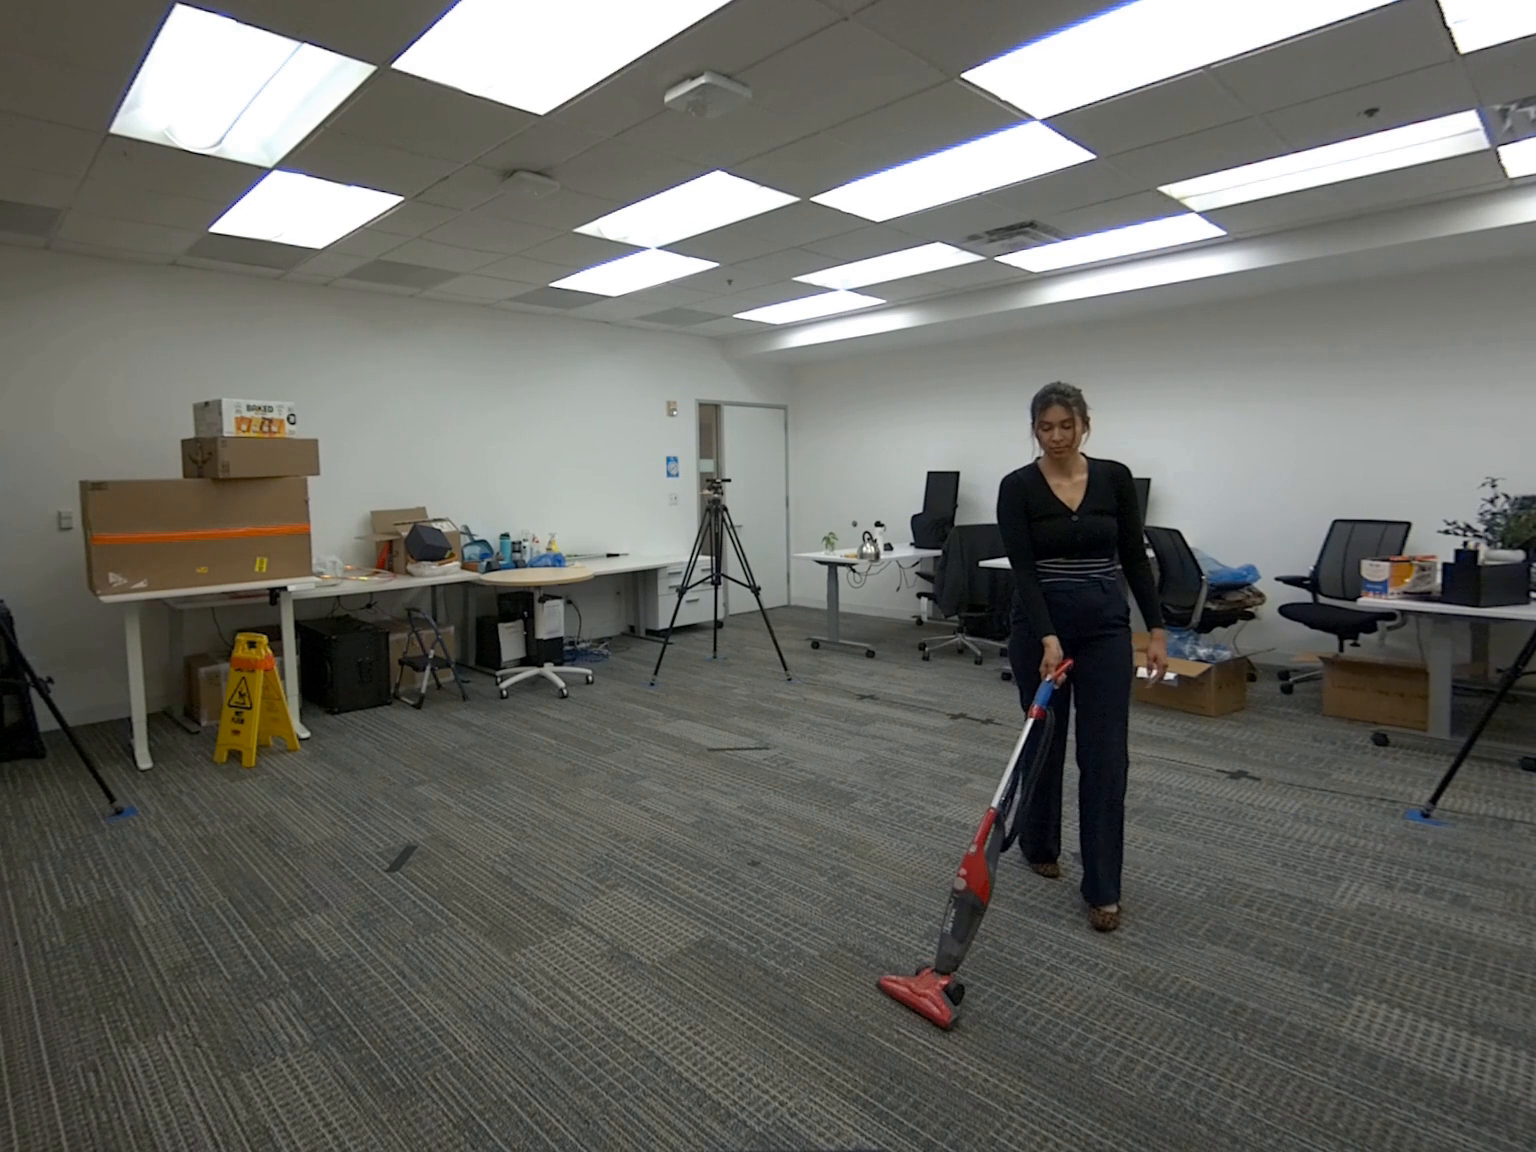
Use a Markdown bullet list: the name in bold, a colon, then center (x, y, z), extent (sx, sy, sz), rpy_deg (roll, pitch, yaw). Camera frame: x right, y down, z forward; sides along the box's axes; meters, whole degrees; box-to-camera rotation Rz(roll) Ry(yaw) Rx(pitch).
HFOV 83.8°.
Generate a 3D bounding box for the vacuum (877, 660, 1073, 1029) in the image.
- **vacuum**: center (0.684, 0.707, 2.457), extent (0.261, 1.054, 0.138), rpy_deg (11, -29, 45)
